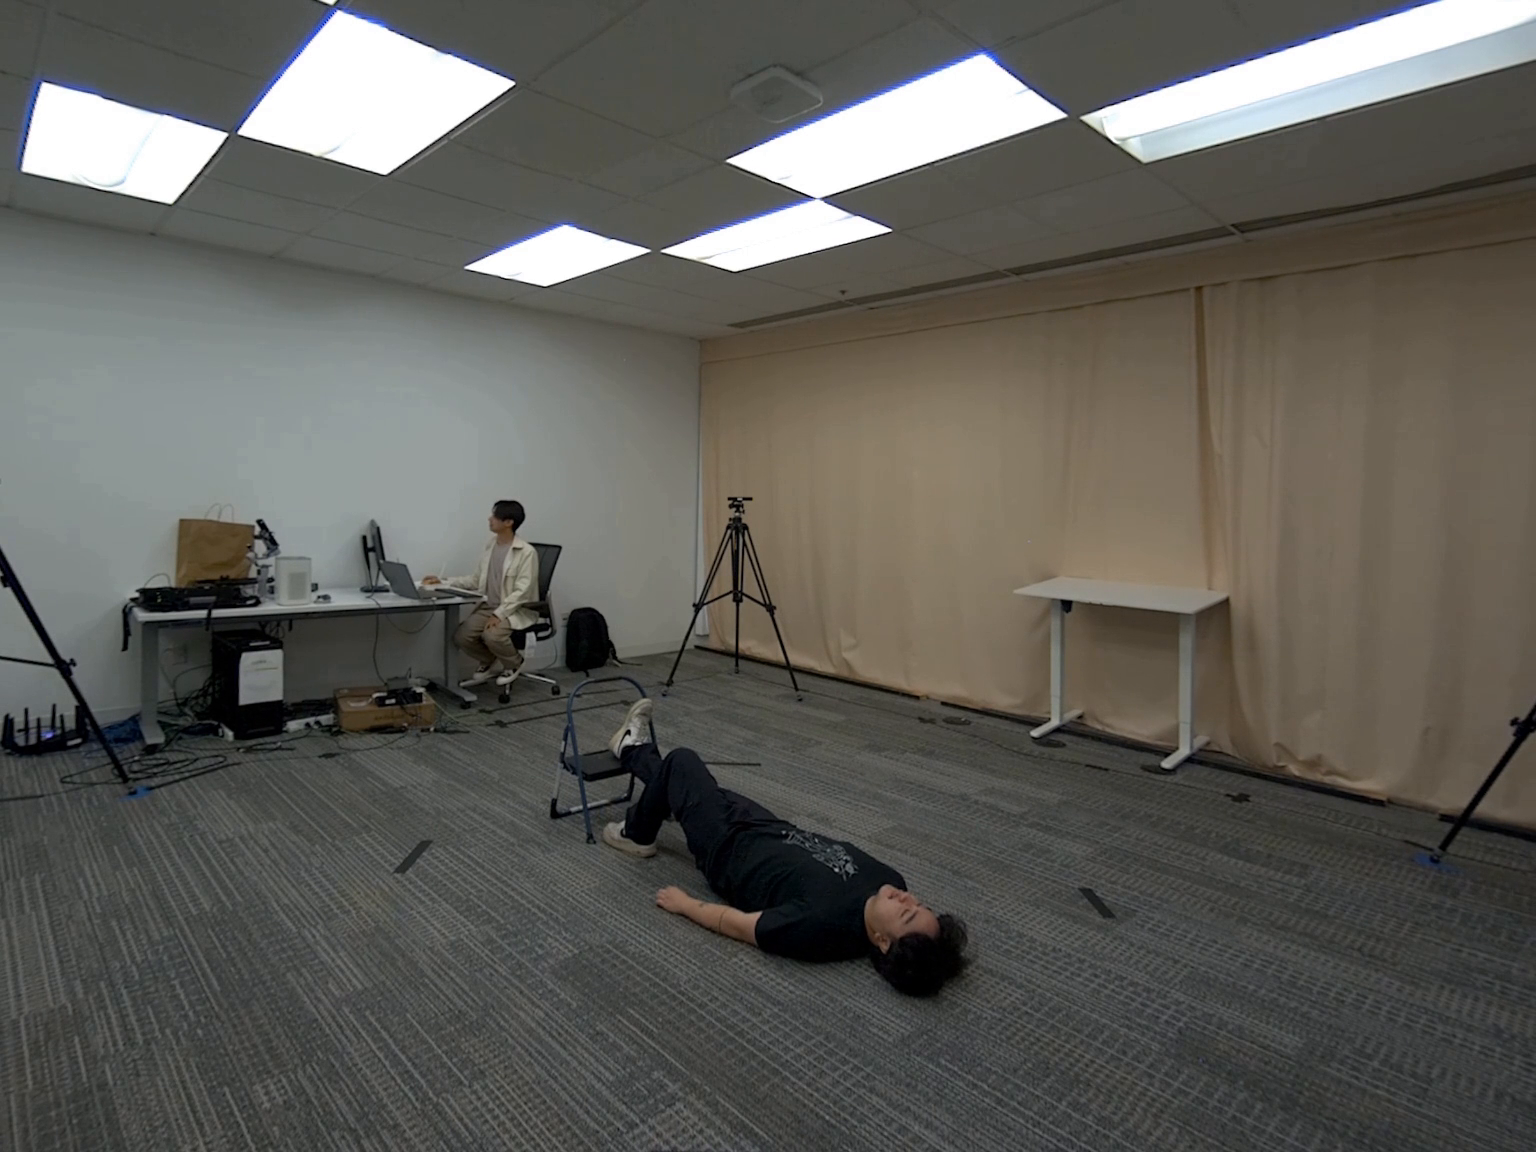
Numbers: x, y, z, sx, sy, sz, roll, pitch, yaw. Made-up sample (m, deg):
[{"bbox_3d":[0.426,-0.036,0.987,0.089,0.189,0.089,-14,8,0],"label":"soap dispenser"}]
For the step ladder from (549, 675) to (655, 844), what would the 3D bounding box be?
[{"bbox_3d":[-0.677,0.752,3.619,0.420,0.605,0.358,-1,4,-43],"label":"step ladder"}]
